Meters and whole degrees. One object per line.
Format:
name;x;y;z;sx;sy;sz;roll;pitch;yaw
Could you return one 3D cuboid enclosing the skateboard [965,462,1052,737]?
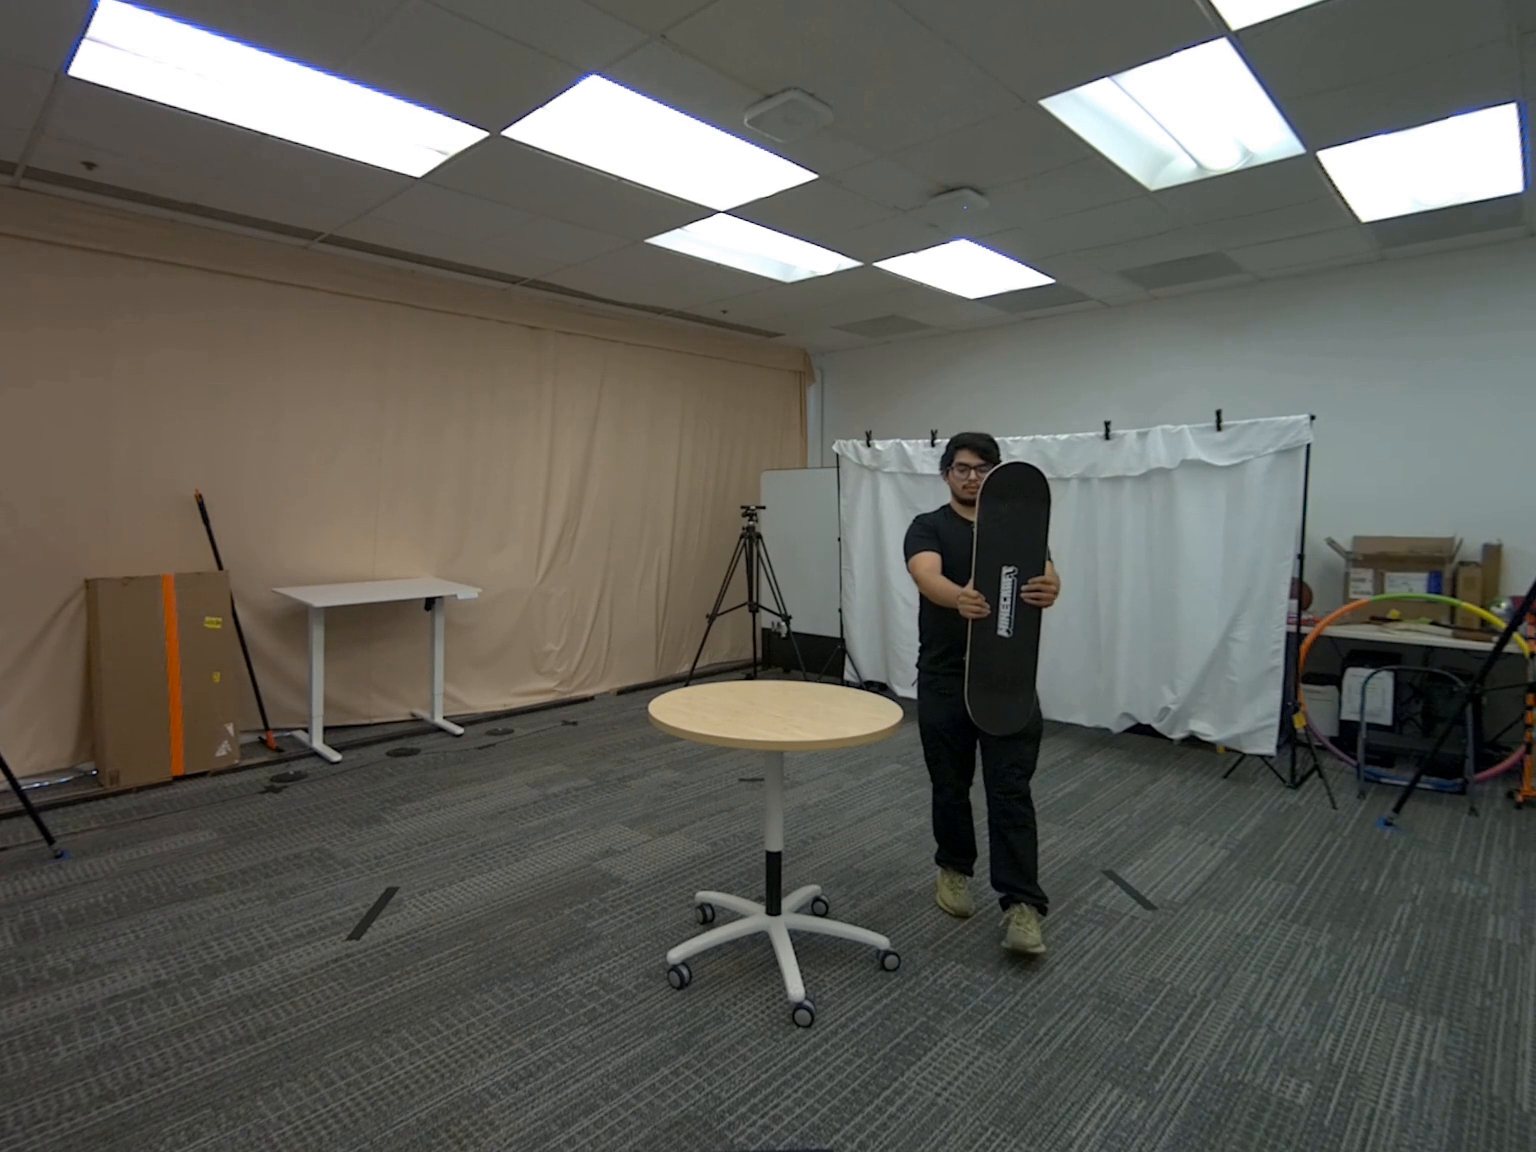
skateboard;0.678;0.061;2.362;0.195;0.779;0.110;2;14;8
